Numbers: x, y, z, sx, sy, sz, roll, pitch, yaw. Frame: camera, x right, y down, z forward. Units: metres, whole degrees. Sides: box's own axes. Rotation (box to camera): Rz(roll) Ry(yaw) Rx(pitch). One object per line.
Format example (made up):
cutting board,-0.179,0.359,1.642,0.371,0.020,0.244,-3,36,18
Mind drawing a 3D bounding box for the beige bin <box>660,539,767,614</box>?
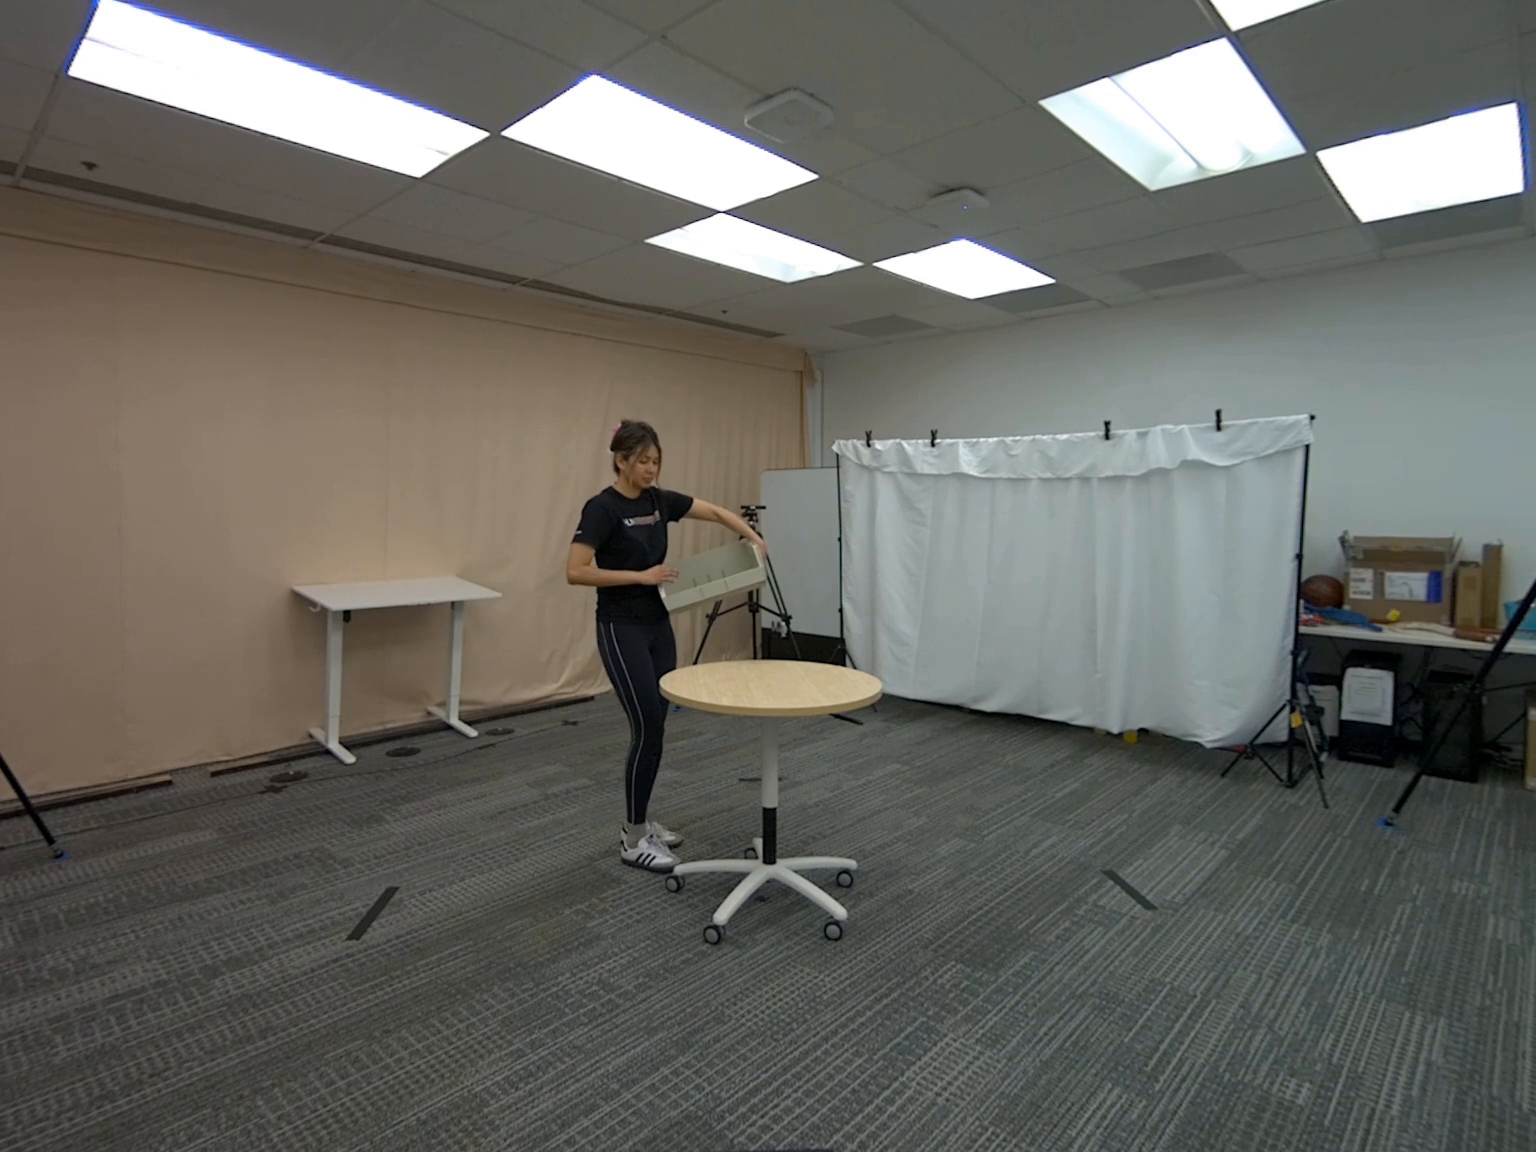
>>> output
beige bin,-0.236,0.002,3.427,0.422,0.188,0.378,-18,3,-2
